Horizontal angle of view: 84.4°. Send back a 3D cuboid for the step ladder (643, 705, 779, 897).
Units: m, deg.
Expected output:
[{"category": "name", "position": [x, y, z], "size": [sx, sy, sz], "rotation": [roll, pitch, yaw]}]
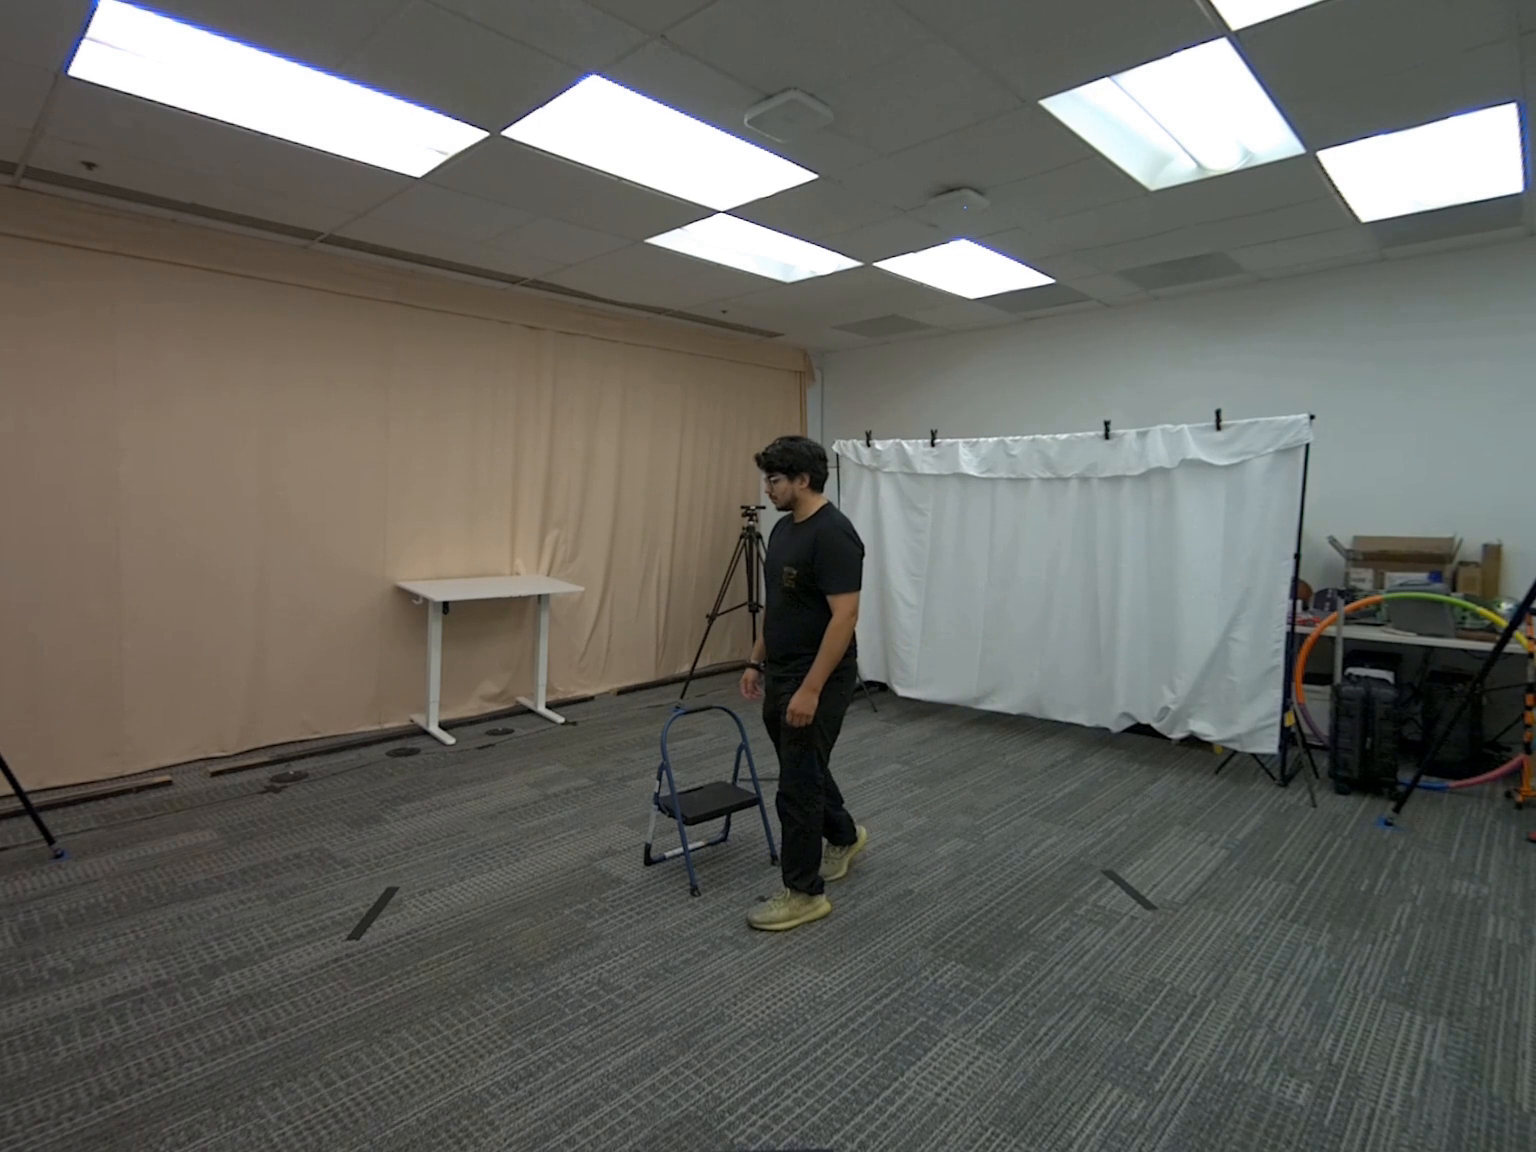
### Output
[{"category": "step ladder", "position": [-0.220, 0.818, 3.252], "size": [0.417, 0.605, 0.361], "rotation": [-3, 5, -41]}]
